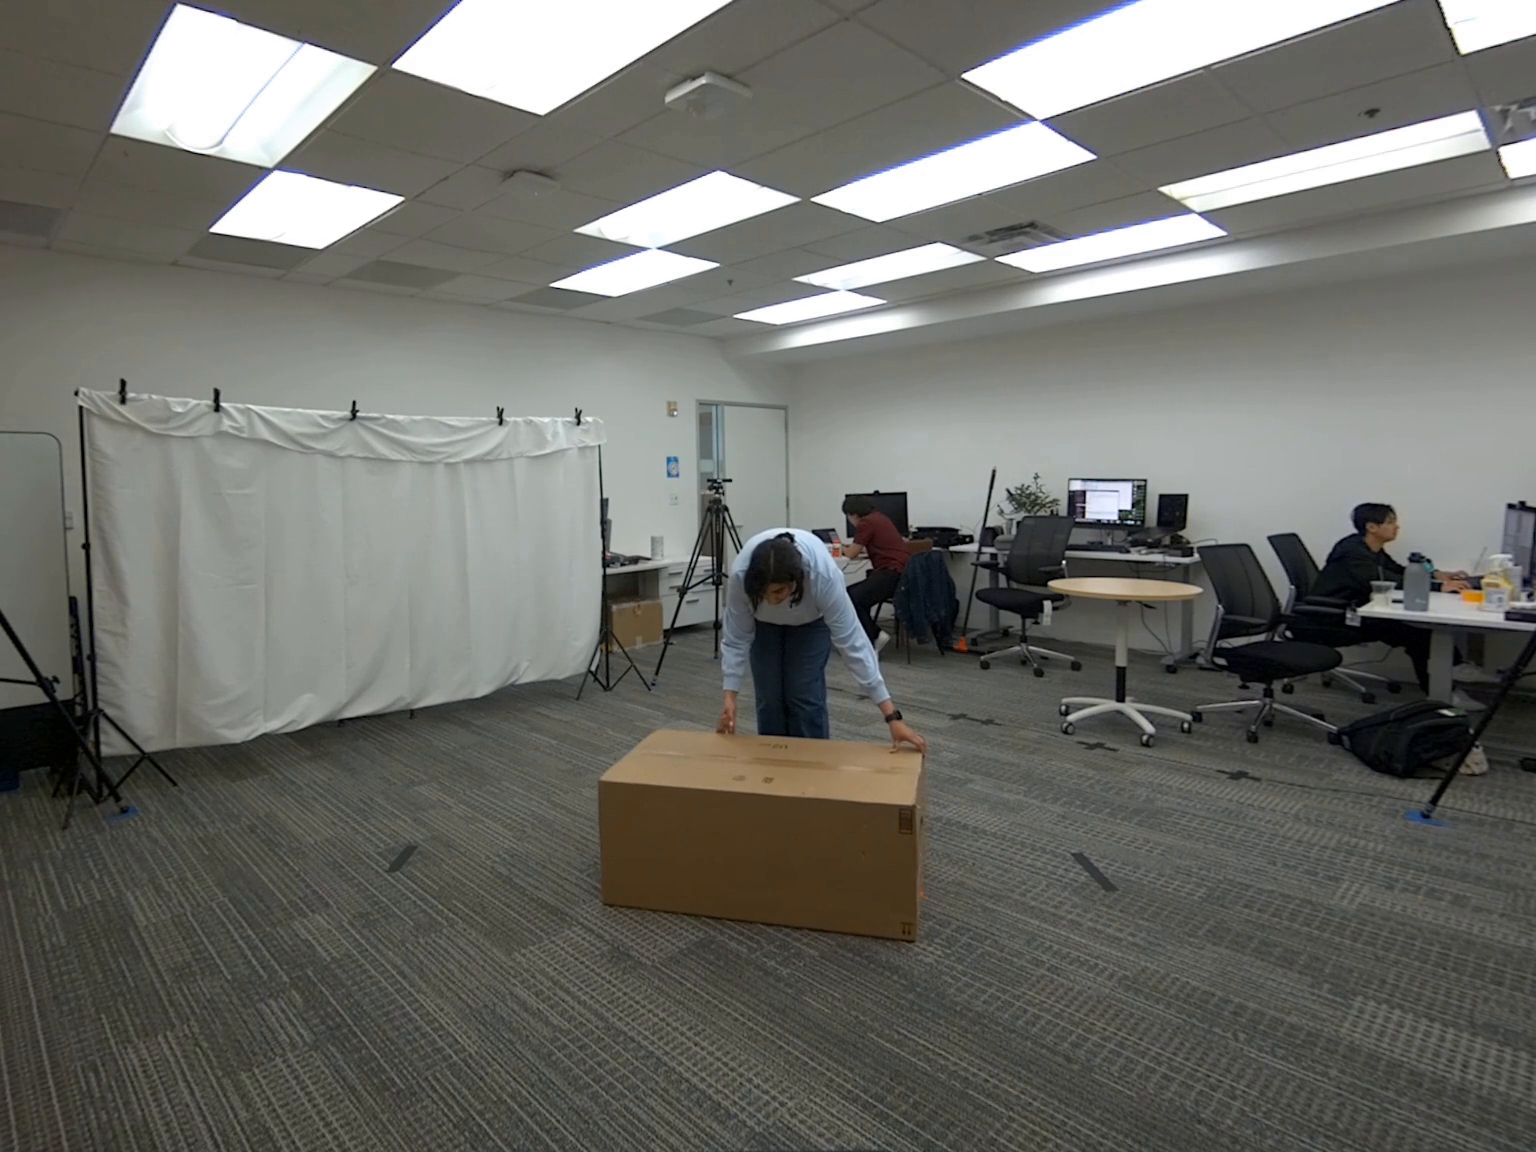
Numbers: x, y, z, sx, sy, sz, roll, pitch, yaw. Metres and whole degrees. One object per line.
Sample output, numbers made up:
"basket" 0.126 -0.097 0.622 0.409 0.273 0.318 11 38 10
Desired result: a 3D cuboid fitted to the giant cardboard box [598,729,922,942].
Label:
"giant cardboard box" 0.001 0.846 2.945 1.041 0.424 0.572 1 6 15
